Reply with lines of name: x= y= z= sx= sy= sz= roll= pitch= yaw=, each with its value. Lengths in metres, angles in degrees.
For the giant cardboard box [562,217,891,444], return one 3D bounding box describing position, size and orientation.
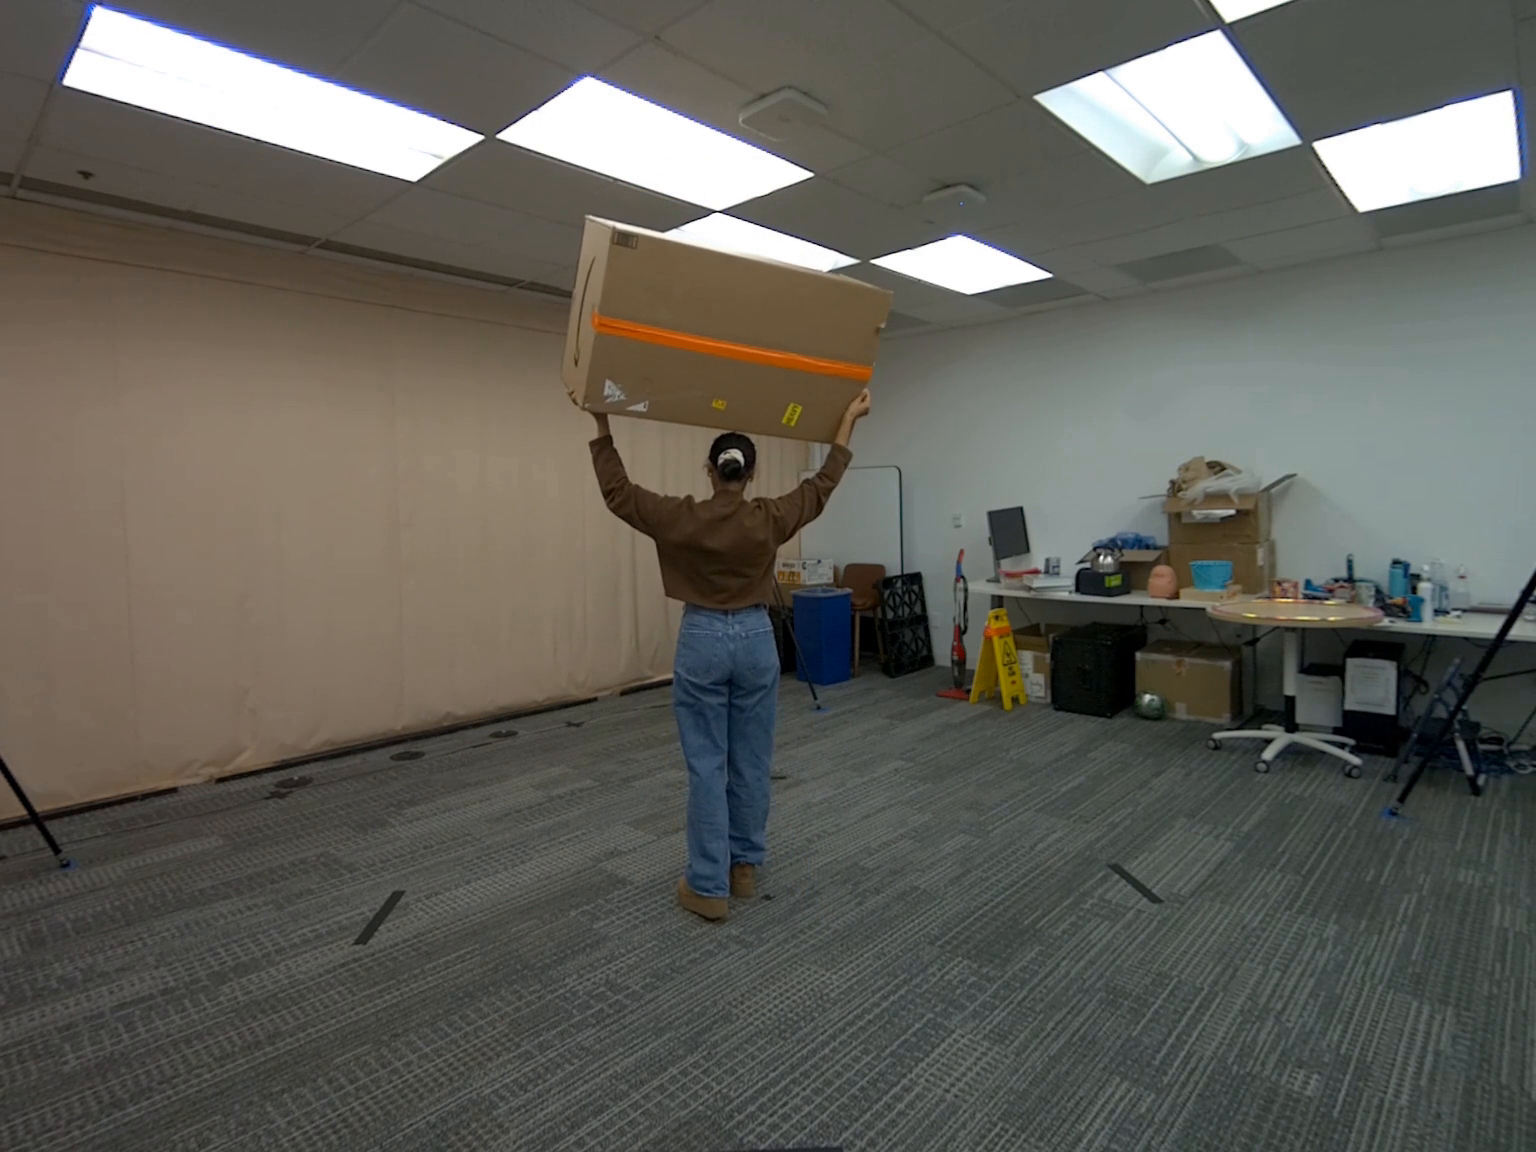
giant cardboard box: x=-0.156 y=-0.854 z=3.012 sx=1.001 sy=0.573 sz=0.440 roll=4 pitch=25 yaw=-24
